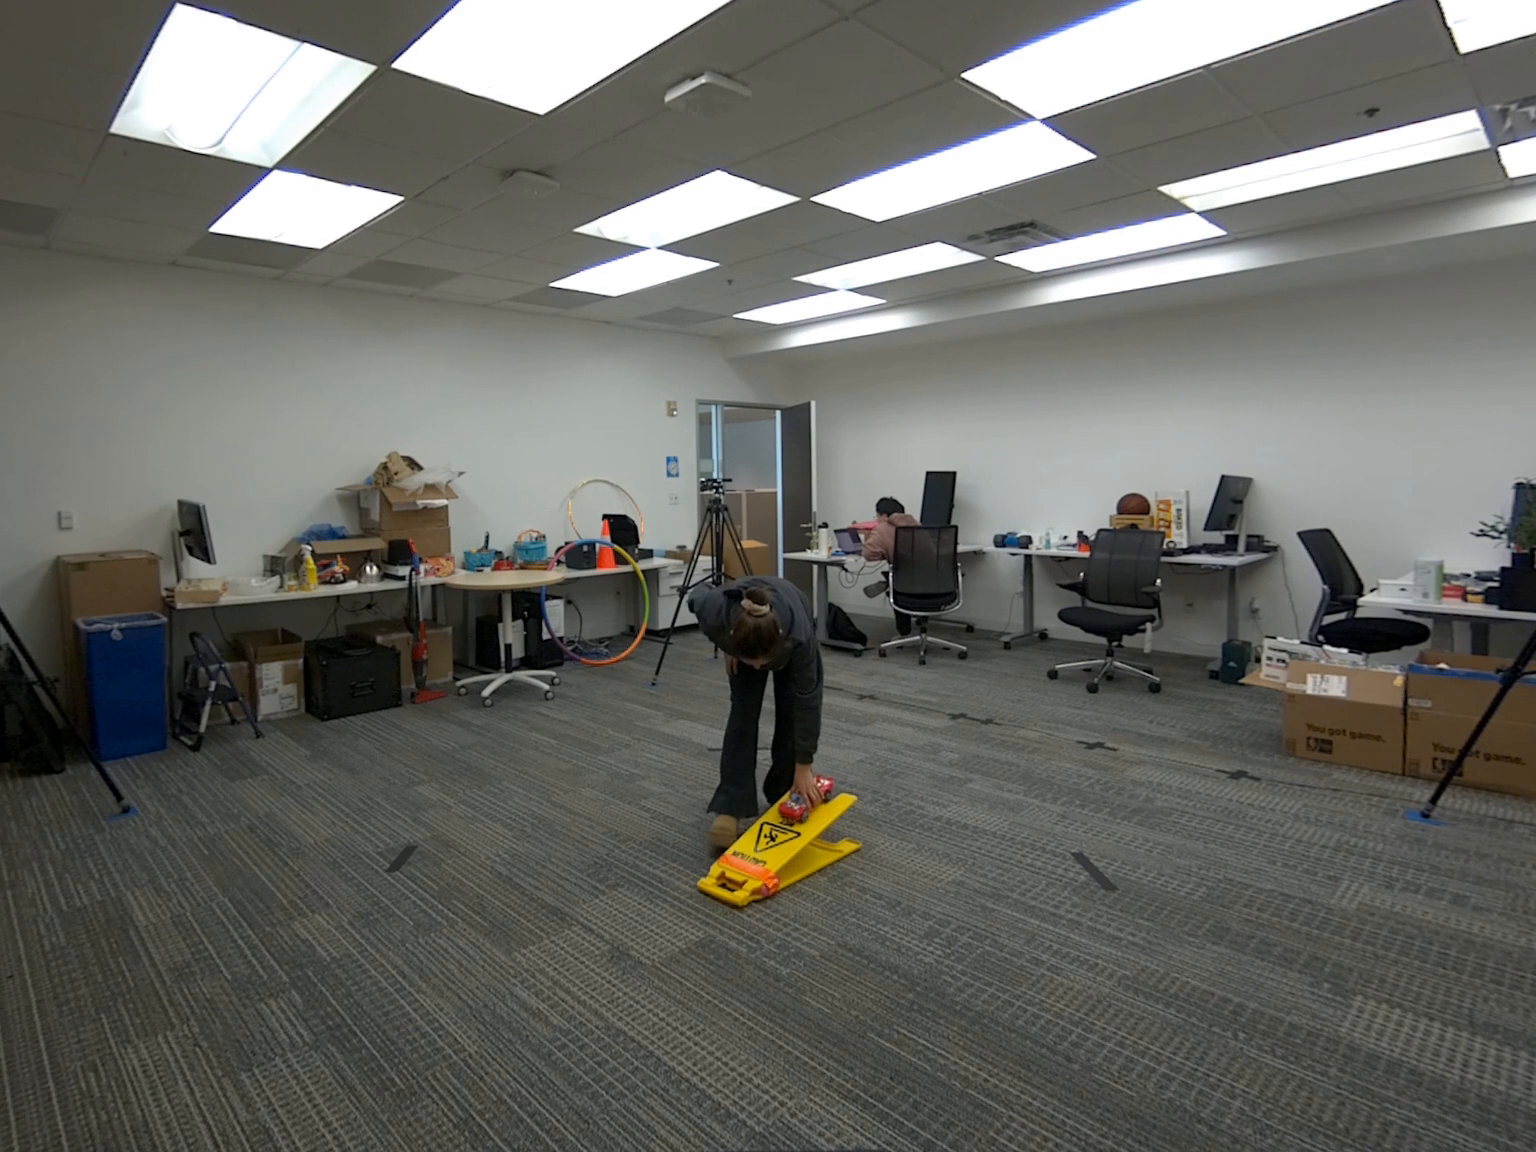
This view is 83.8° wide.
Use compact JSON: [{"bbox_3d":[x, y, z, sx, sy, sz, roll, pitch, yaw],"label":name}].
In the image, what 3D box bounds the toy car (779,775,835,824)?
[{"bbox_3d":[0.149,0.837,3.175,0.134,0.081,0.253,2,32,41],"label":"toy car"}]
